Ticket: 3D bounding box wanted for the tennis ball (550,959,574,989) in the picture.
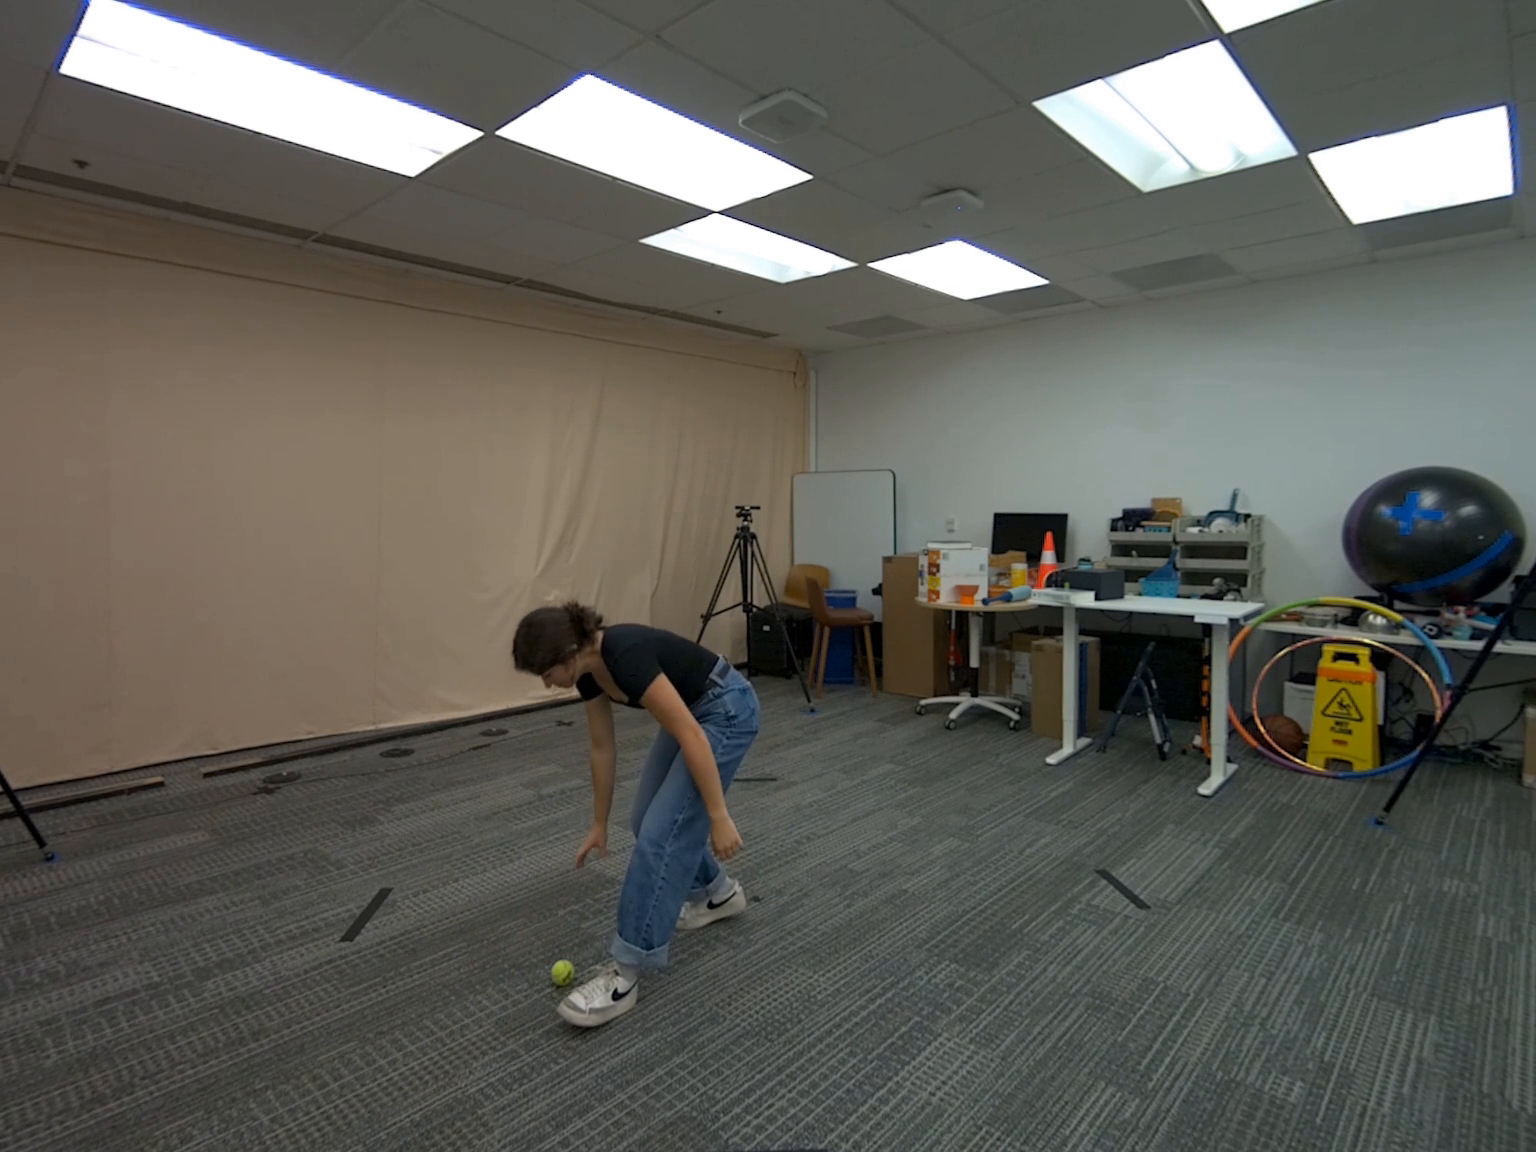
[{"bbox_3d":[-0.600,1.154,2.458,0.066,0.066,0.067,0,4,-2],"label":"tennis ball"}]
